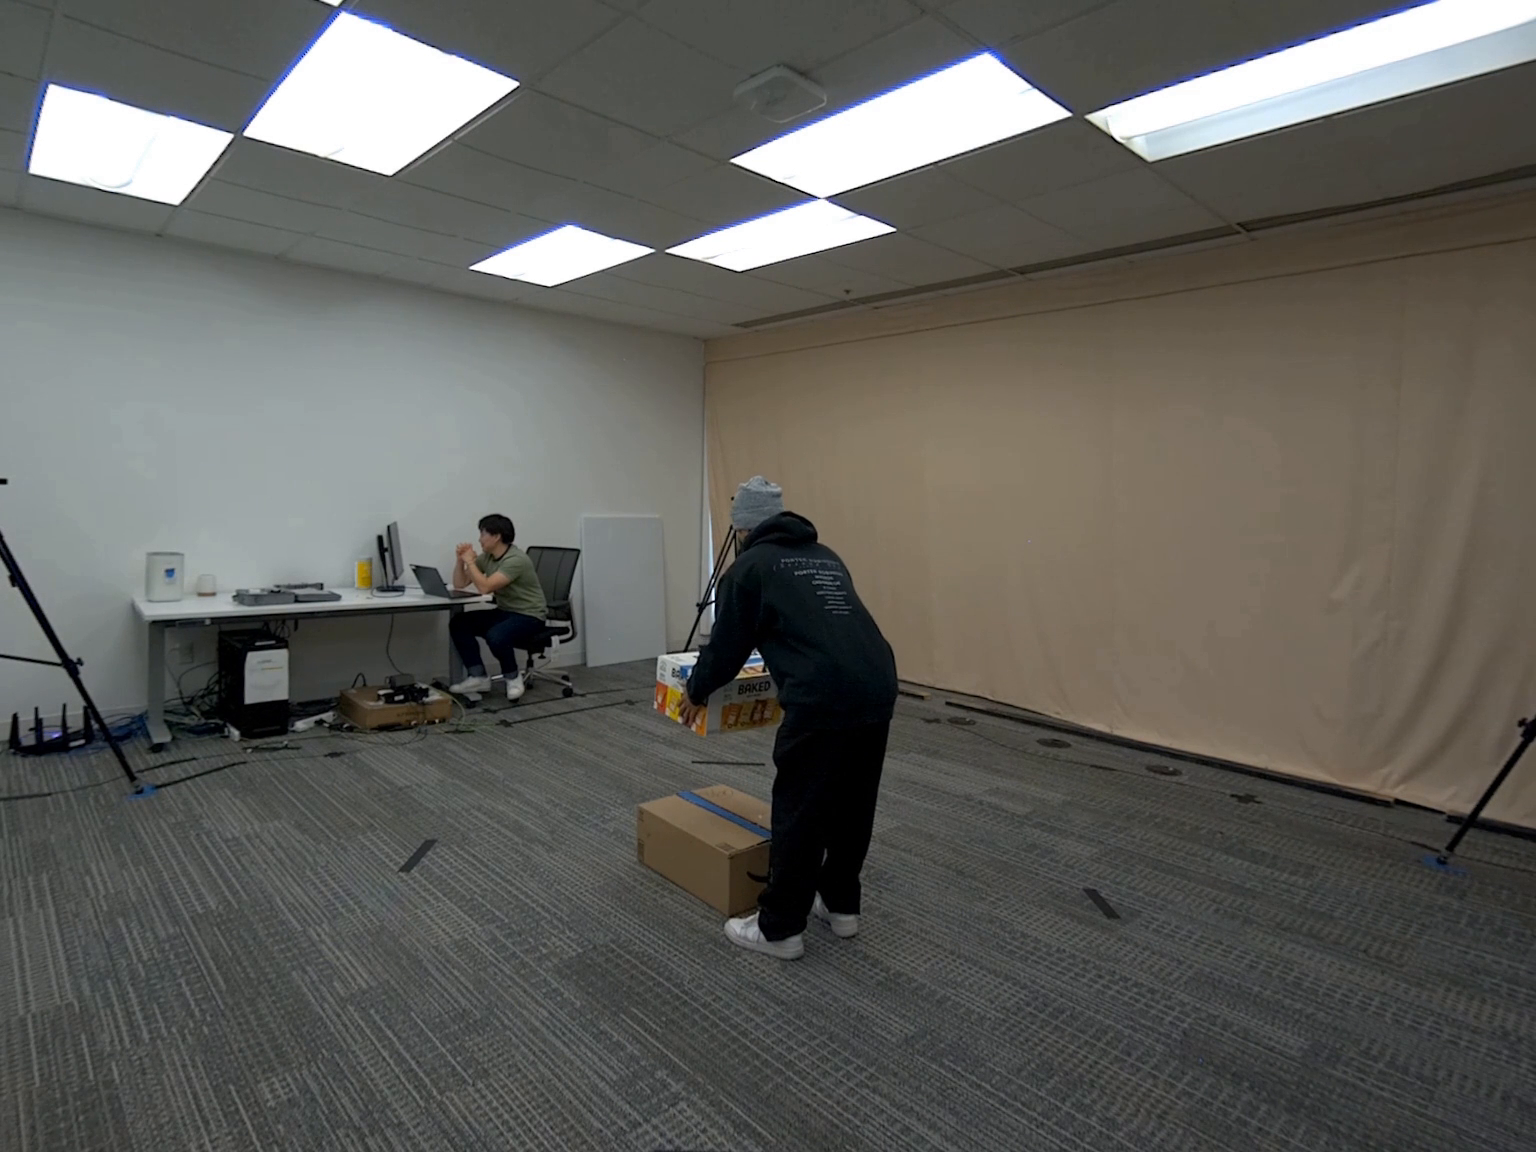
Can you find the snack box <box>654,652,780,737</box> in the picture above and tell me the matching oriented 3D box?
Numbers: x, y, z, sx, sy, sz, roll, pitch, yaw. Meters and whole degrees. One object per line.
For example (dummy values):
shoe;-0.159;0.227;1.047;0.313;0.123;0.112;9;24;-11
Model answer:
snack box;-0.165;0.423;3.128;0.396;0.204;0.350;-1;11;-38
